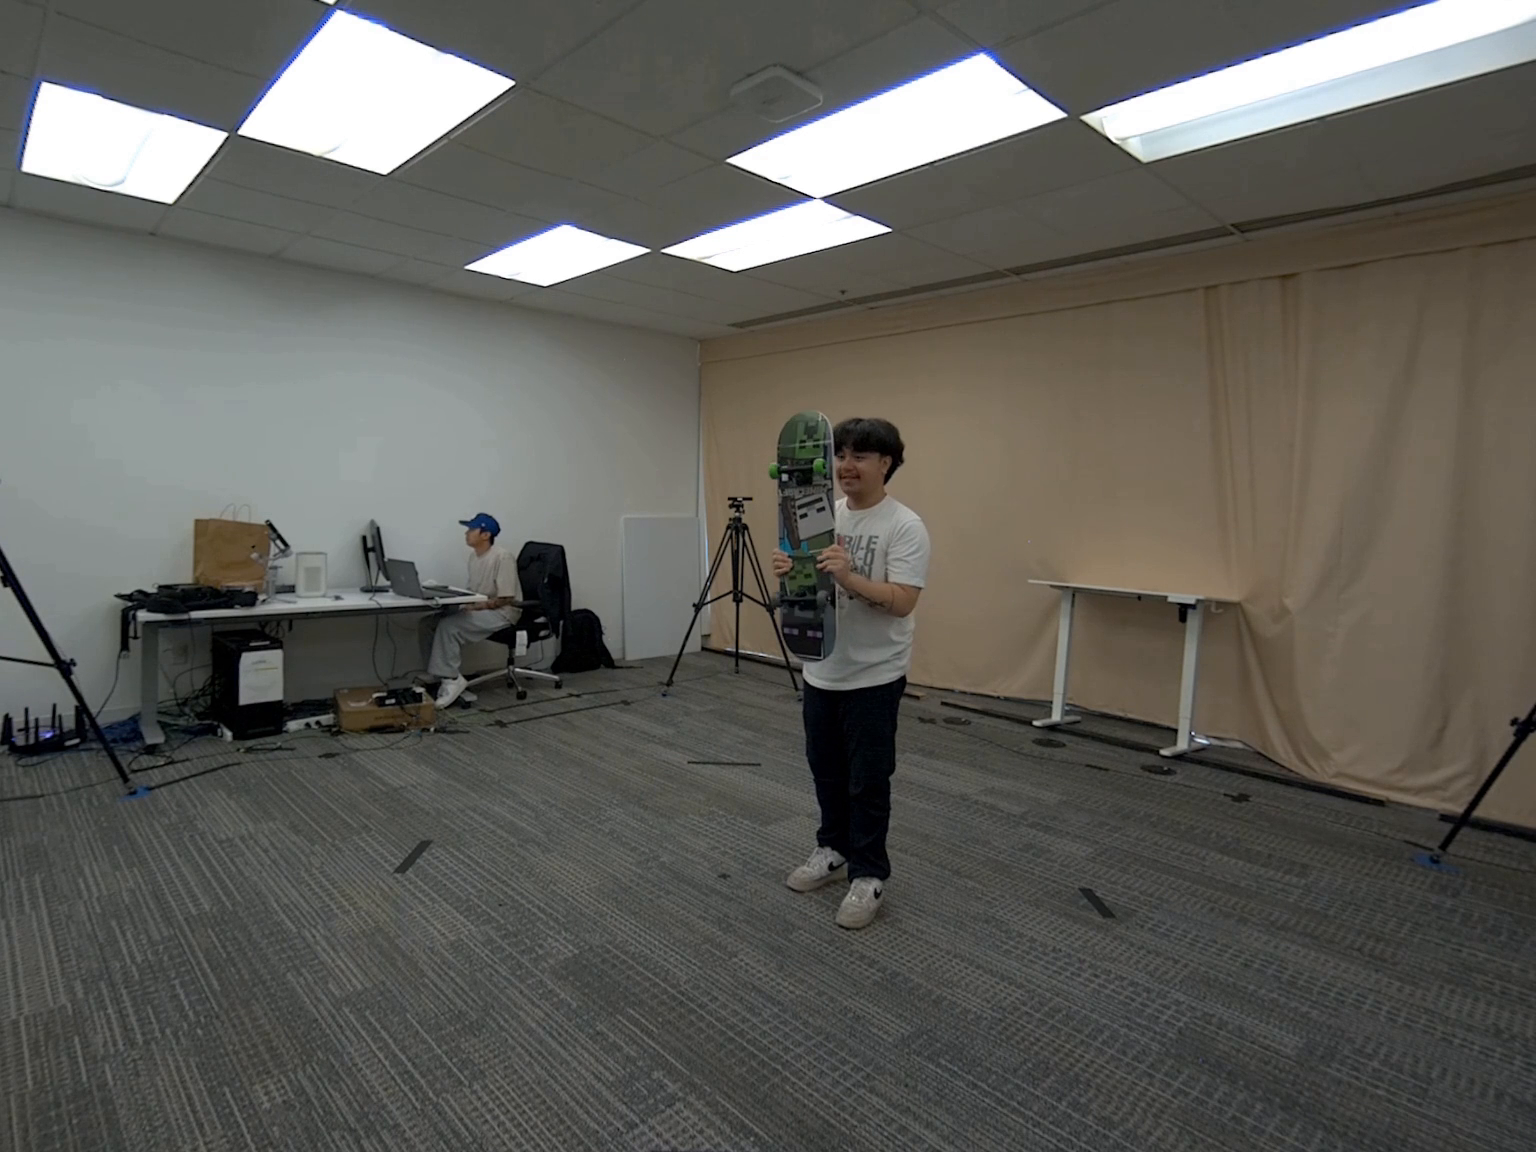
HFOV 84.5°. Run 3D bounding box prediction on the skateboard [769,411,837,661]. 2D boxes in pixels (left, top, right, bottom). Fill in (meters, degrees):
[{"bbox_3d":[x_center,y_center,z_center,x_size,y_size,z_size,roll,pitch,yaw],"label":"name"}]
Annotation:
[{"bbox_3d":[0.102,-0.125,2.587,0.197,0.787,0.108,-3,-3,30],"label":"skateboard"}]
